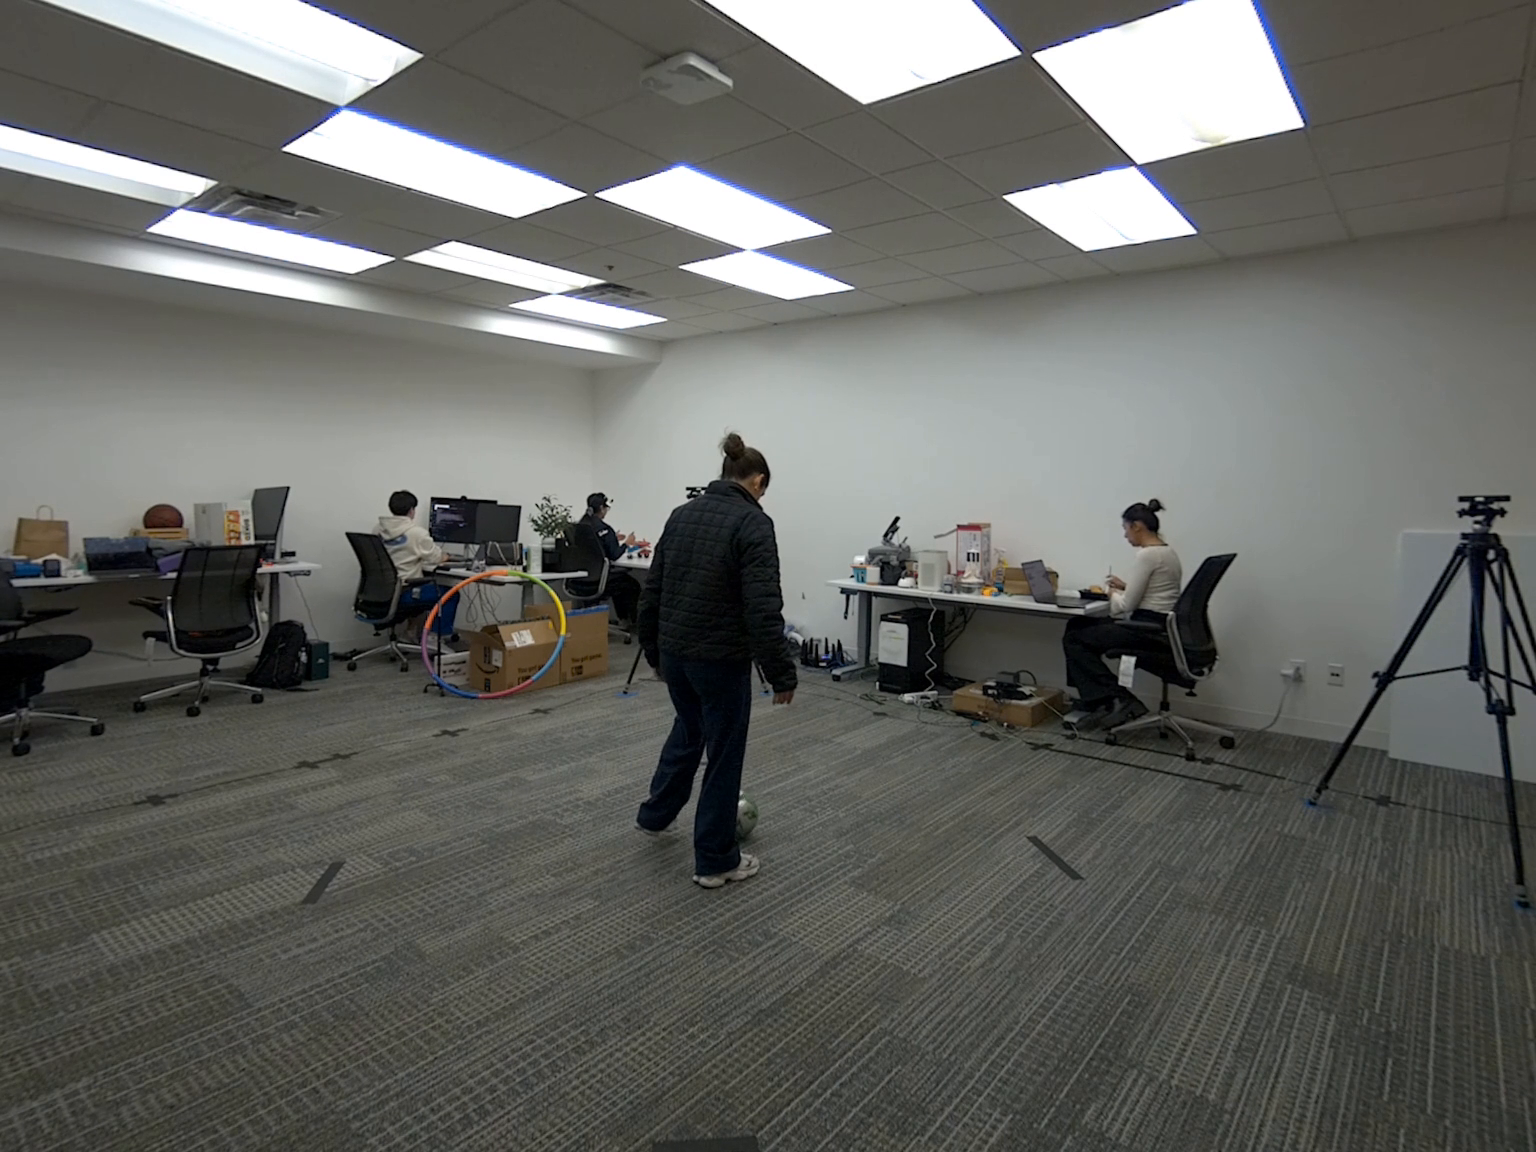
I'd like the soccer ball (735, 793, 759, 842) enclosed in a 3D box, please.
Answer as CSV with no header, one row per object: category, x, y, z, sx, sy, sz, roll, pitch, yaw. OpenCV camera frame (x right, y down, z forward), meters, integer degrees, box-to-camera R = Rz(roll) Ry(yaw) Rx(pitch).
soccer ball,-0.138,0.942,3.389,0.187,0.187,0.188,1,4,-2
